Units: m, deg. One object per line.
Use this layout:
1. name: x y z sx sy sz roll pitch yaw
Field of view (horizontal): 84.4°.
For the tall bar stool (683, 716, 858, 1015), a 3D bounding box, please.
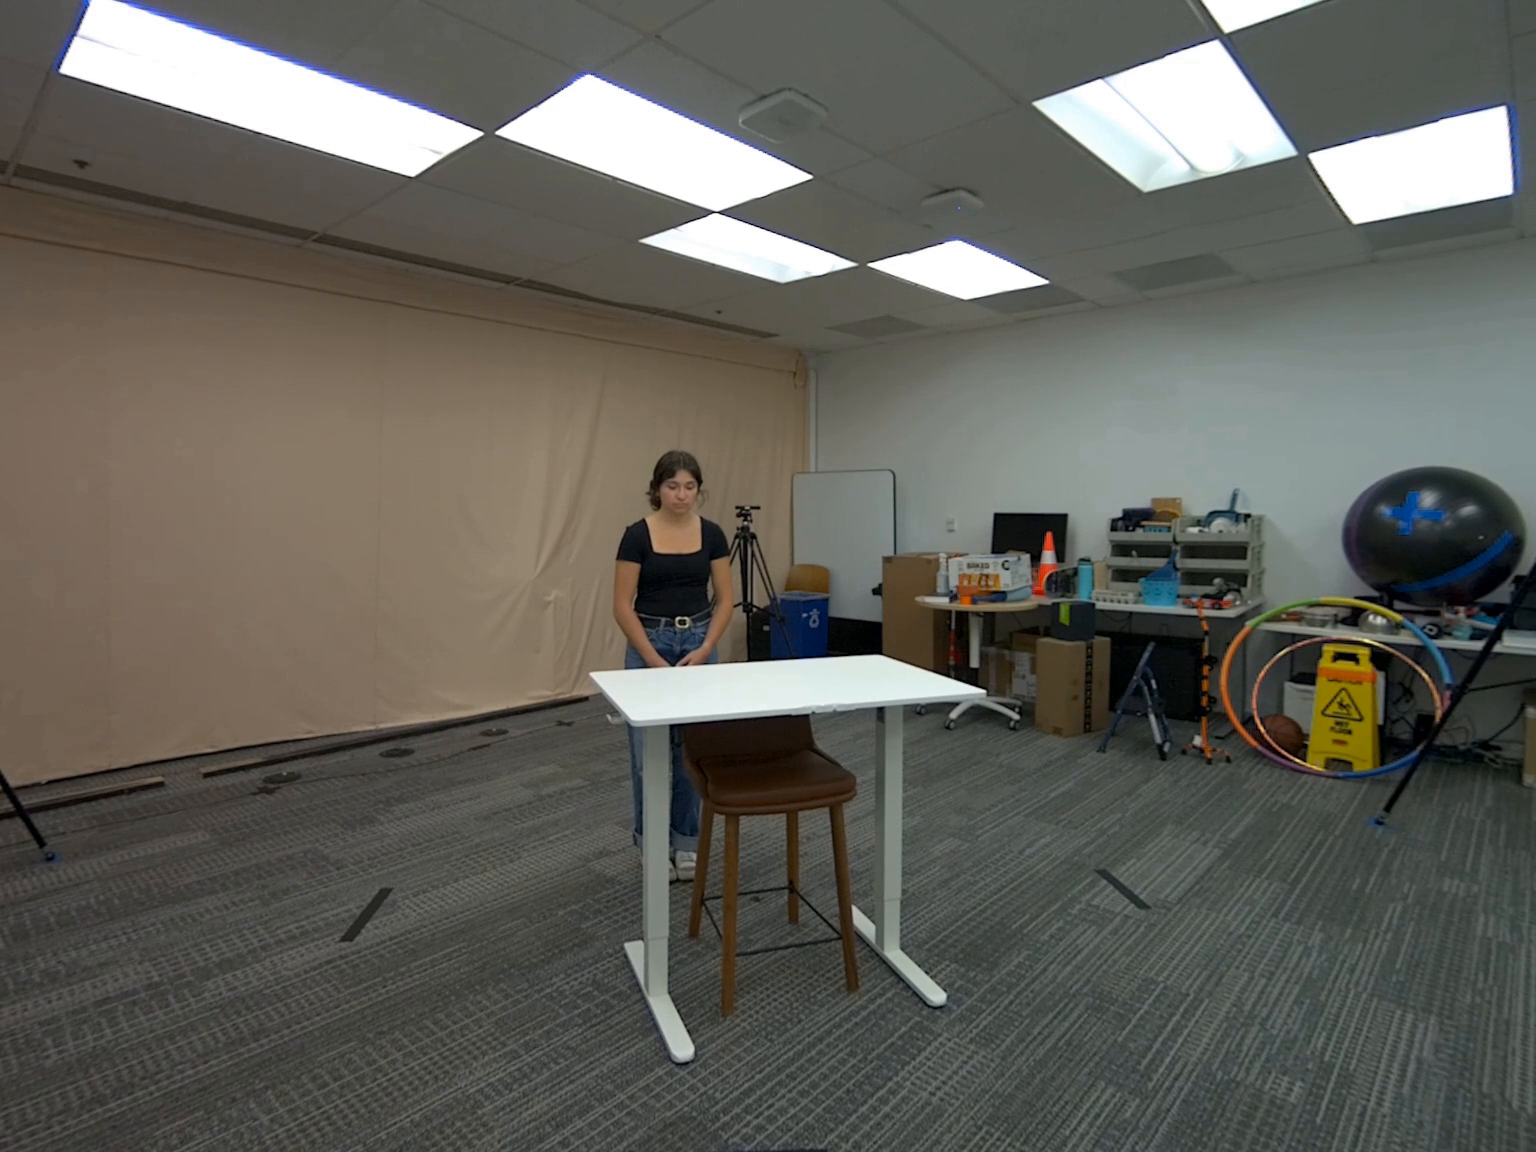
1. tall bar stool: -0.004 0.749 2.557 0.448 0.889 0.476 -2 1 -18
